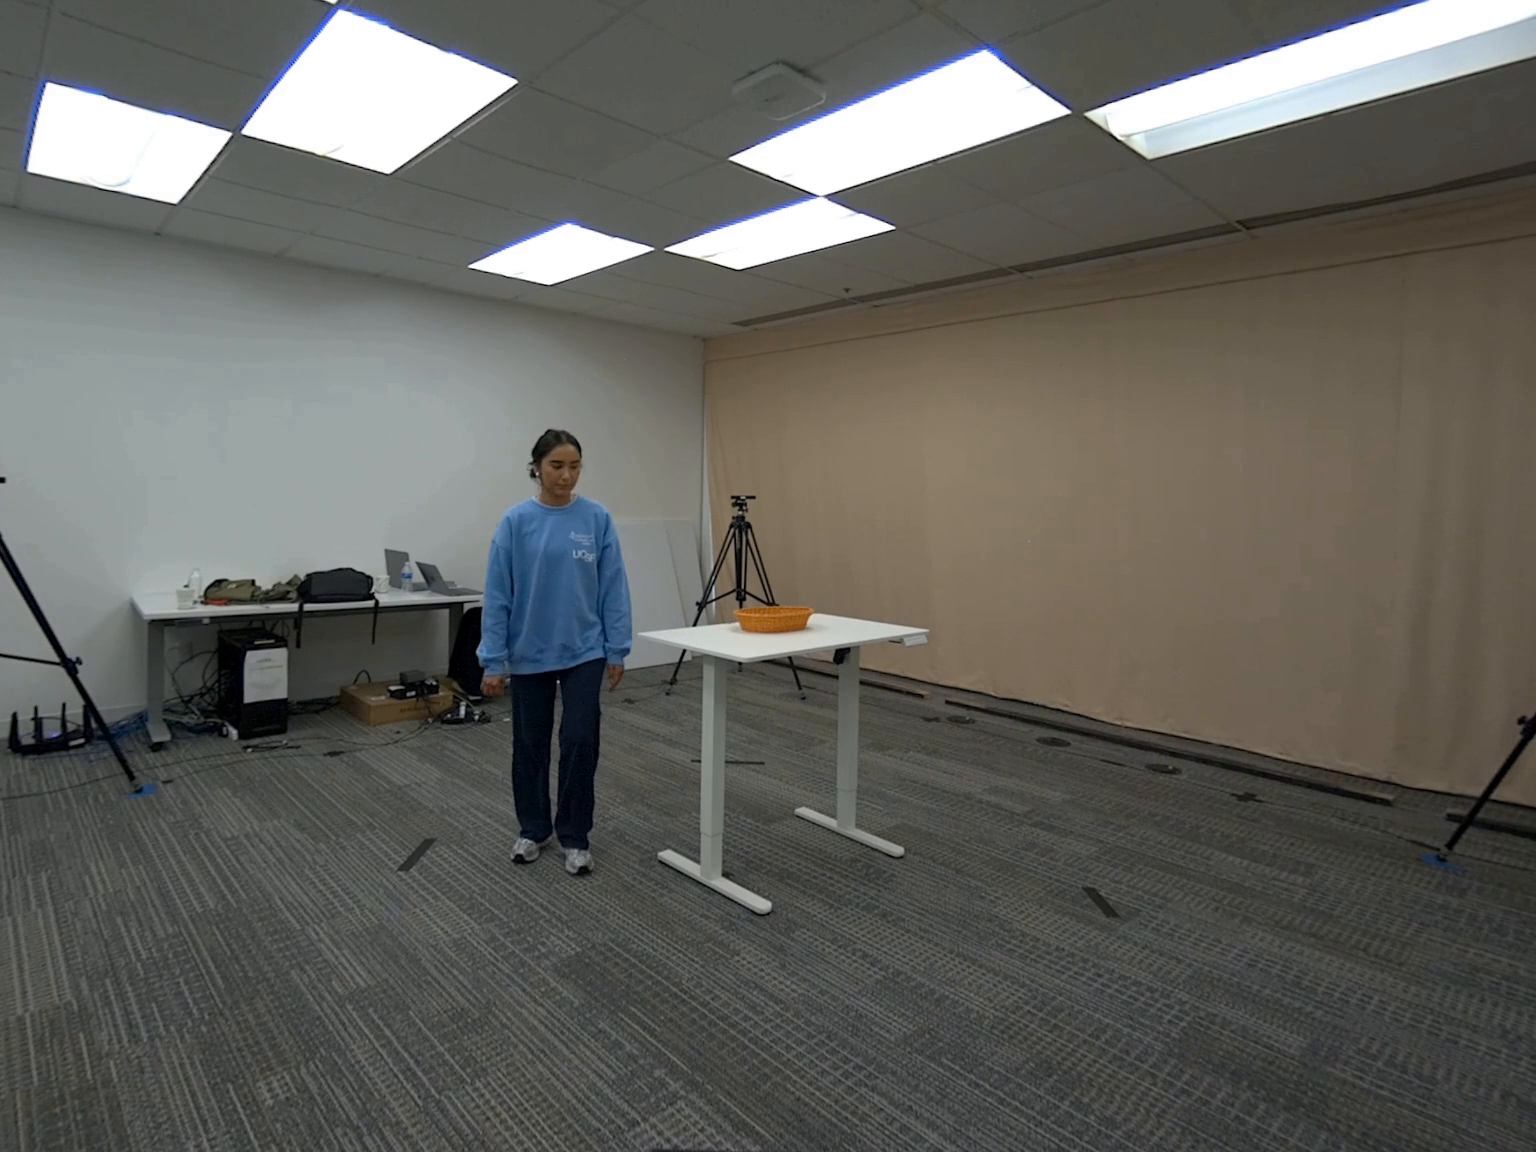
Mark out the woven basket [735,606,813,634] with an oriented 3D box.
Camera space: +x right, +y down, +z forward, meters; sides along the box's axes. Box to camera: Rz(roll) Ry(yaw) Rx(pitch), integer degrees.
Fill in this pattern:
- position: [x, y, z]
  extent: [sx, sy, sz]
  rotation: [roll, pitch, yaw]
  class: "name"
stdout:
- position: [0.006, 0.176, 3.313]
  extent: [0.342, 0.073, 0.259]
  rotation: [-3, 6, -39]
  class: "woven basket"
